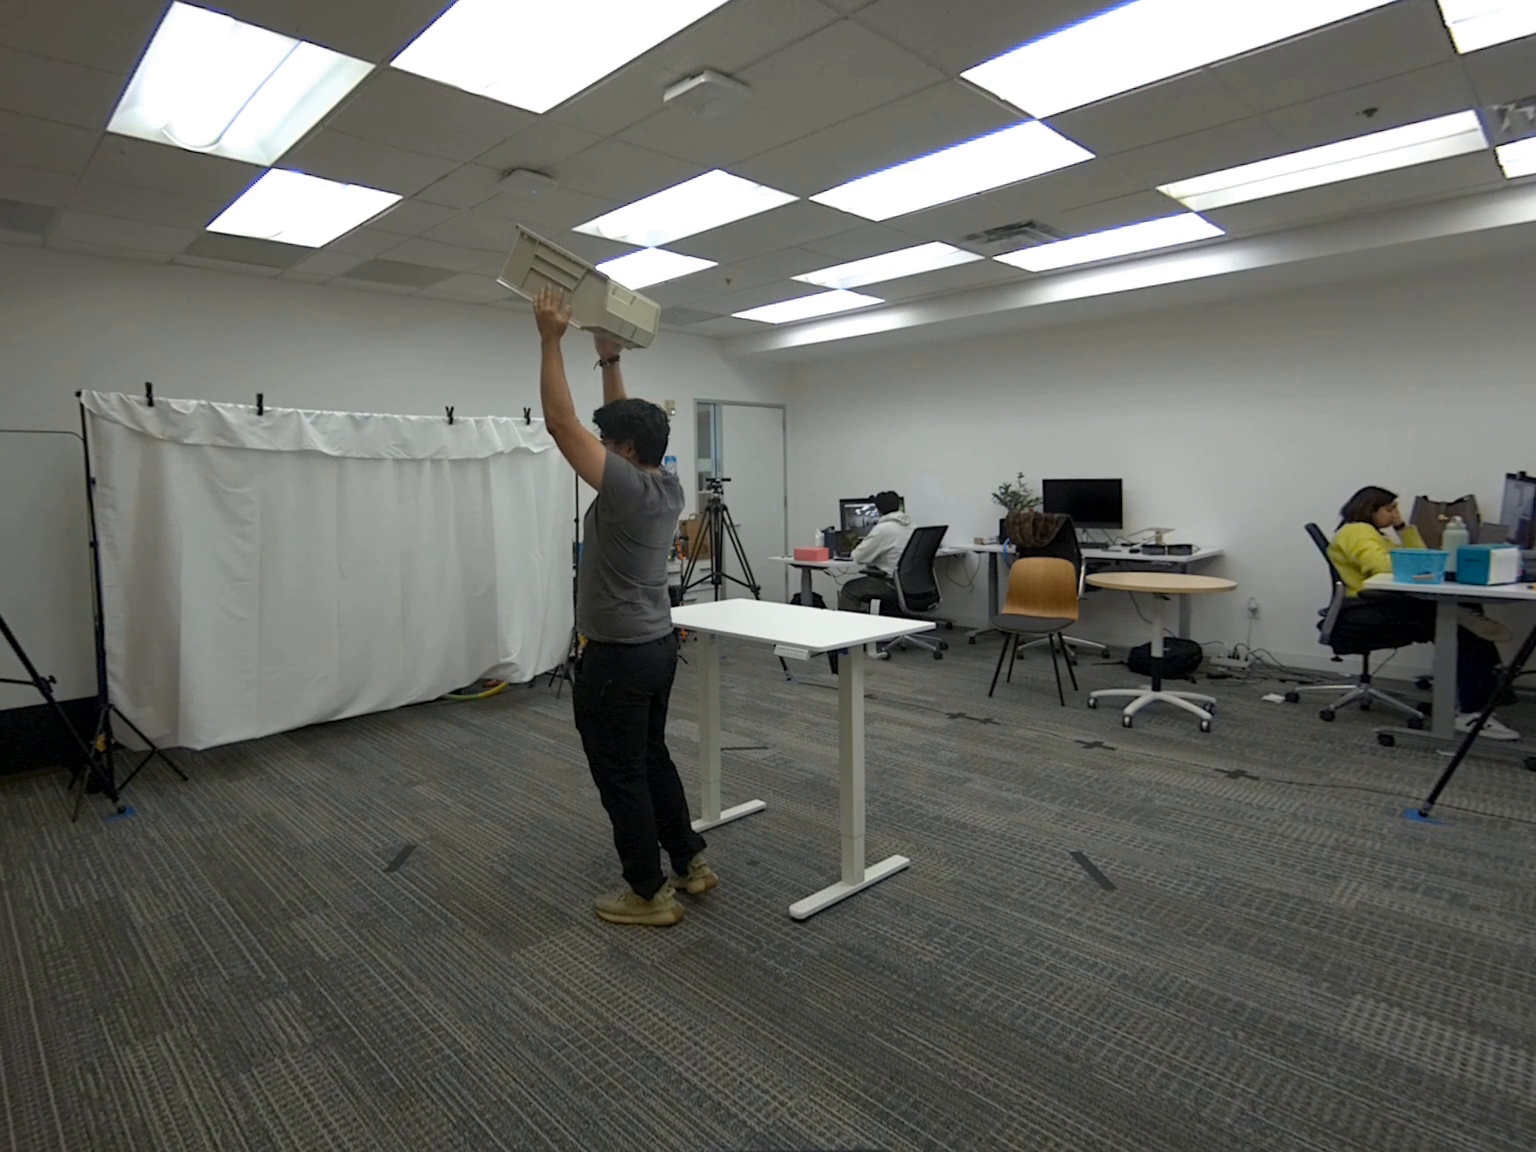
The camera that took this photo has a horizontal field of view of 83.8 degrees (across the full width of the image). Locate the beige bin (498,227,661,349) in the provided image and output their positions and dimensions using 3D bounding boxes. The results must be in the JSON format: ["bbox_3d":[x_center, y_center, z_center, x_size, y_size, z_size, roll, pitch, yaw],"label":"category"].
[{"bbox_3d":[-0.577,-0.885,2.694,0.383,0.188,0.418,32,11,10],"label":"beige bin"}]
